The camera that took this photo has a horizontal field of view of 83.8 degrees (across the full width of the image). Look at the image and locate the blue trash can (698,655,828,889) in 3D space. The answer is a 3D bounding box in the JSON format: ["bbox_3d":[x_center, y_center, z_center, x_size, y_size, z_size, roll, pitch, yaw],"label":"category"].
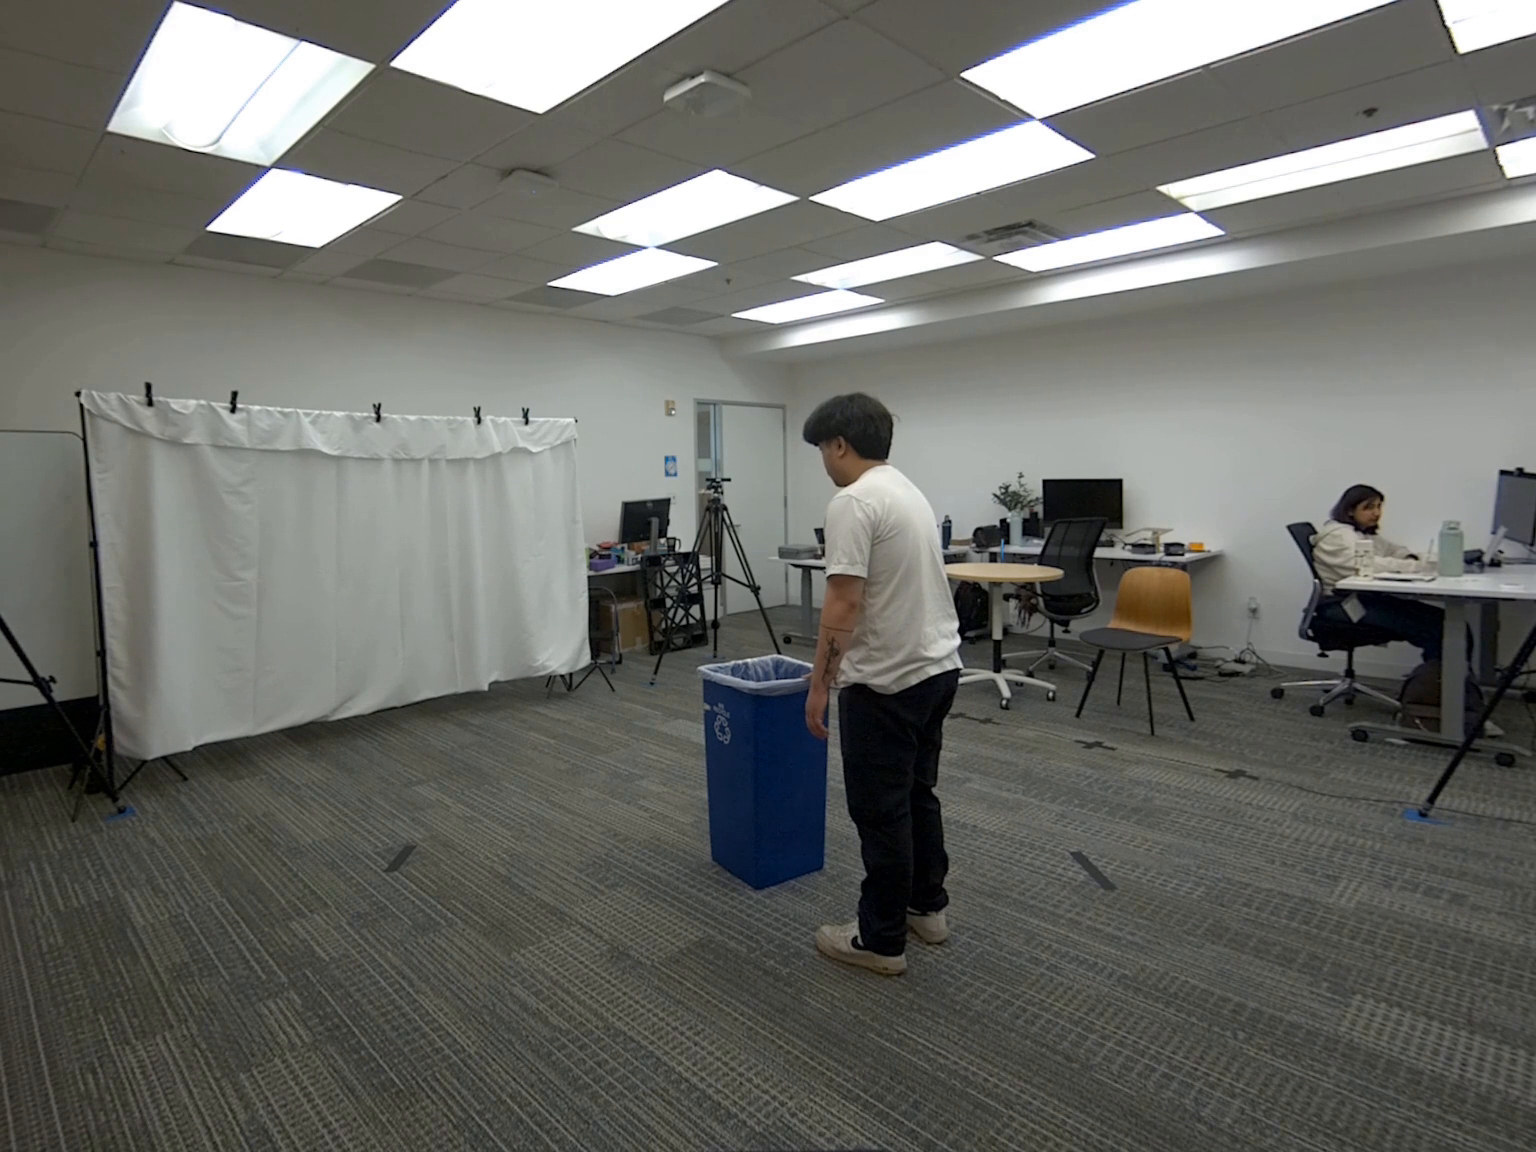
[{"bbox_3d":[0.000,0.687,3.069,0.368,0.711,0.385,-4,5,-35],"label":"blue trash can"}]
